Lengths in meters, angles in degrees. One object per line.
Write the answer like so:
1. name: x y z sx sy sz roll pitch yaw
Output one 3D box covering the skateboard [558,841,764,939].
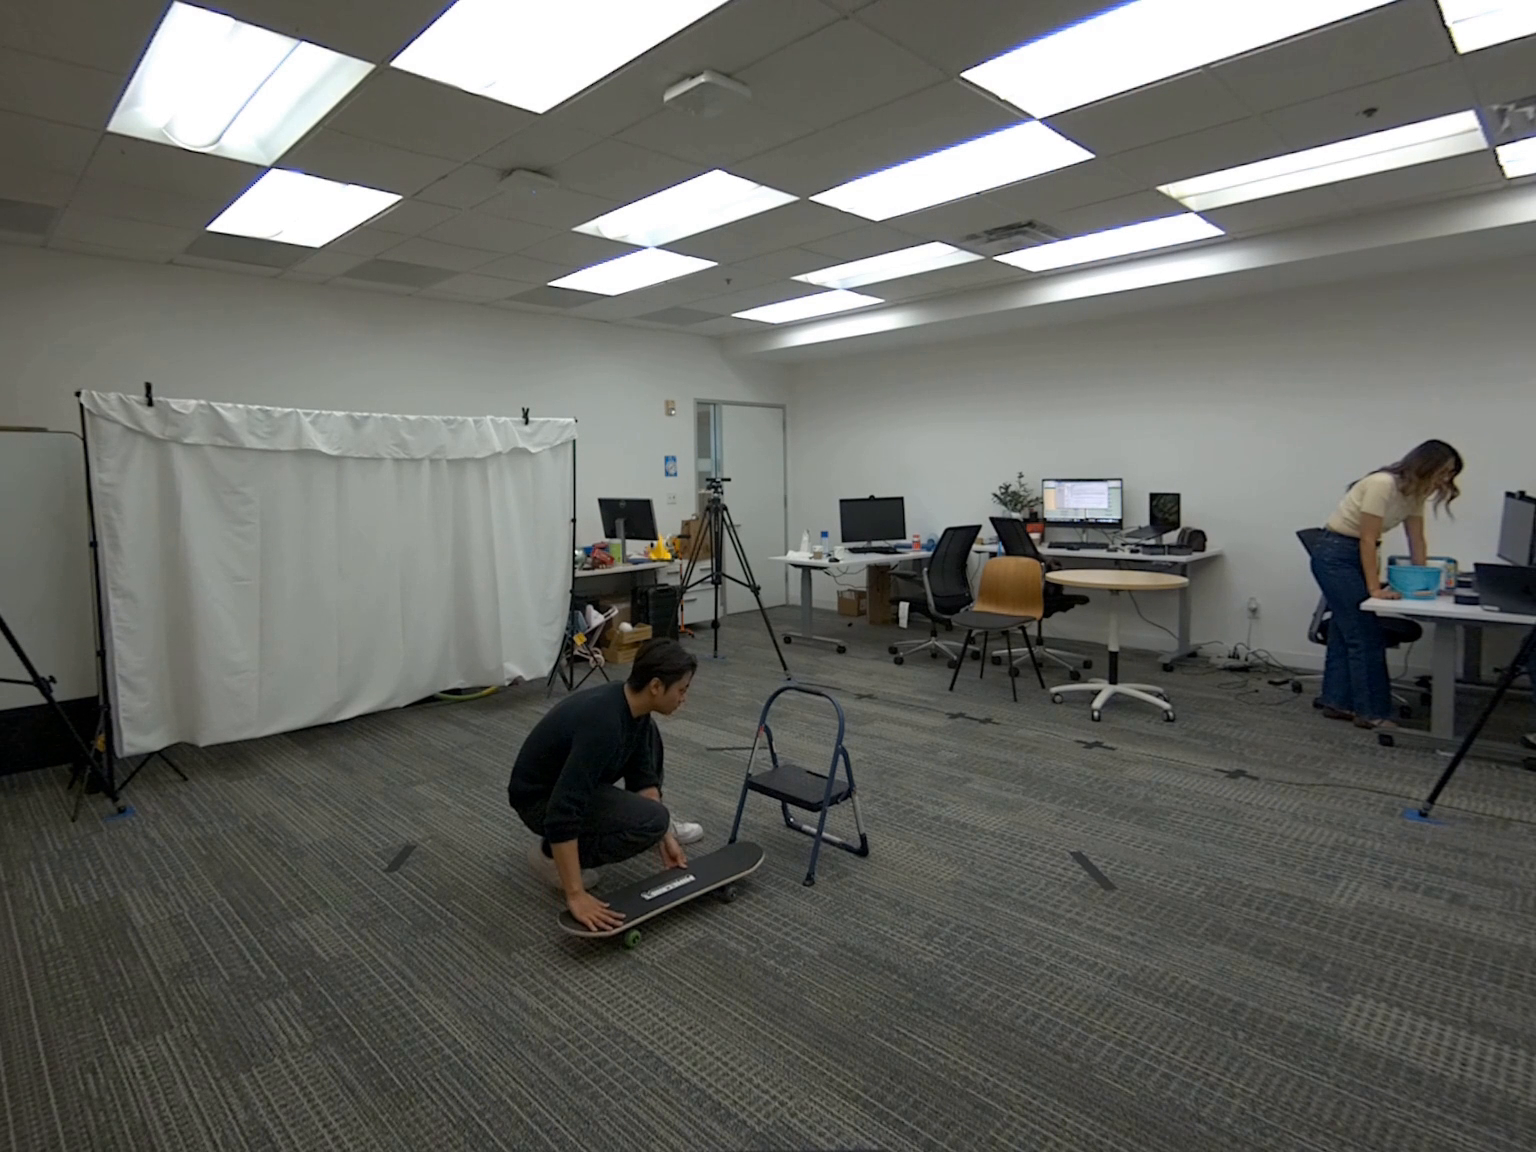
1. skateboard: -0.324 1.028 2.761 0.765 0.110 0.199 -8 10 -43
